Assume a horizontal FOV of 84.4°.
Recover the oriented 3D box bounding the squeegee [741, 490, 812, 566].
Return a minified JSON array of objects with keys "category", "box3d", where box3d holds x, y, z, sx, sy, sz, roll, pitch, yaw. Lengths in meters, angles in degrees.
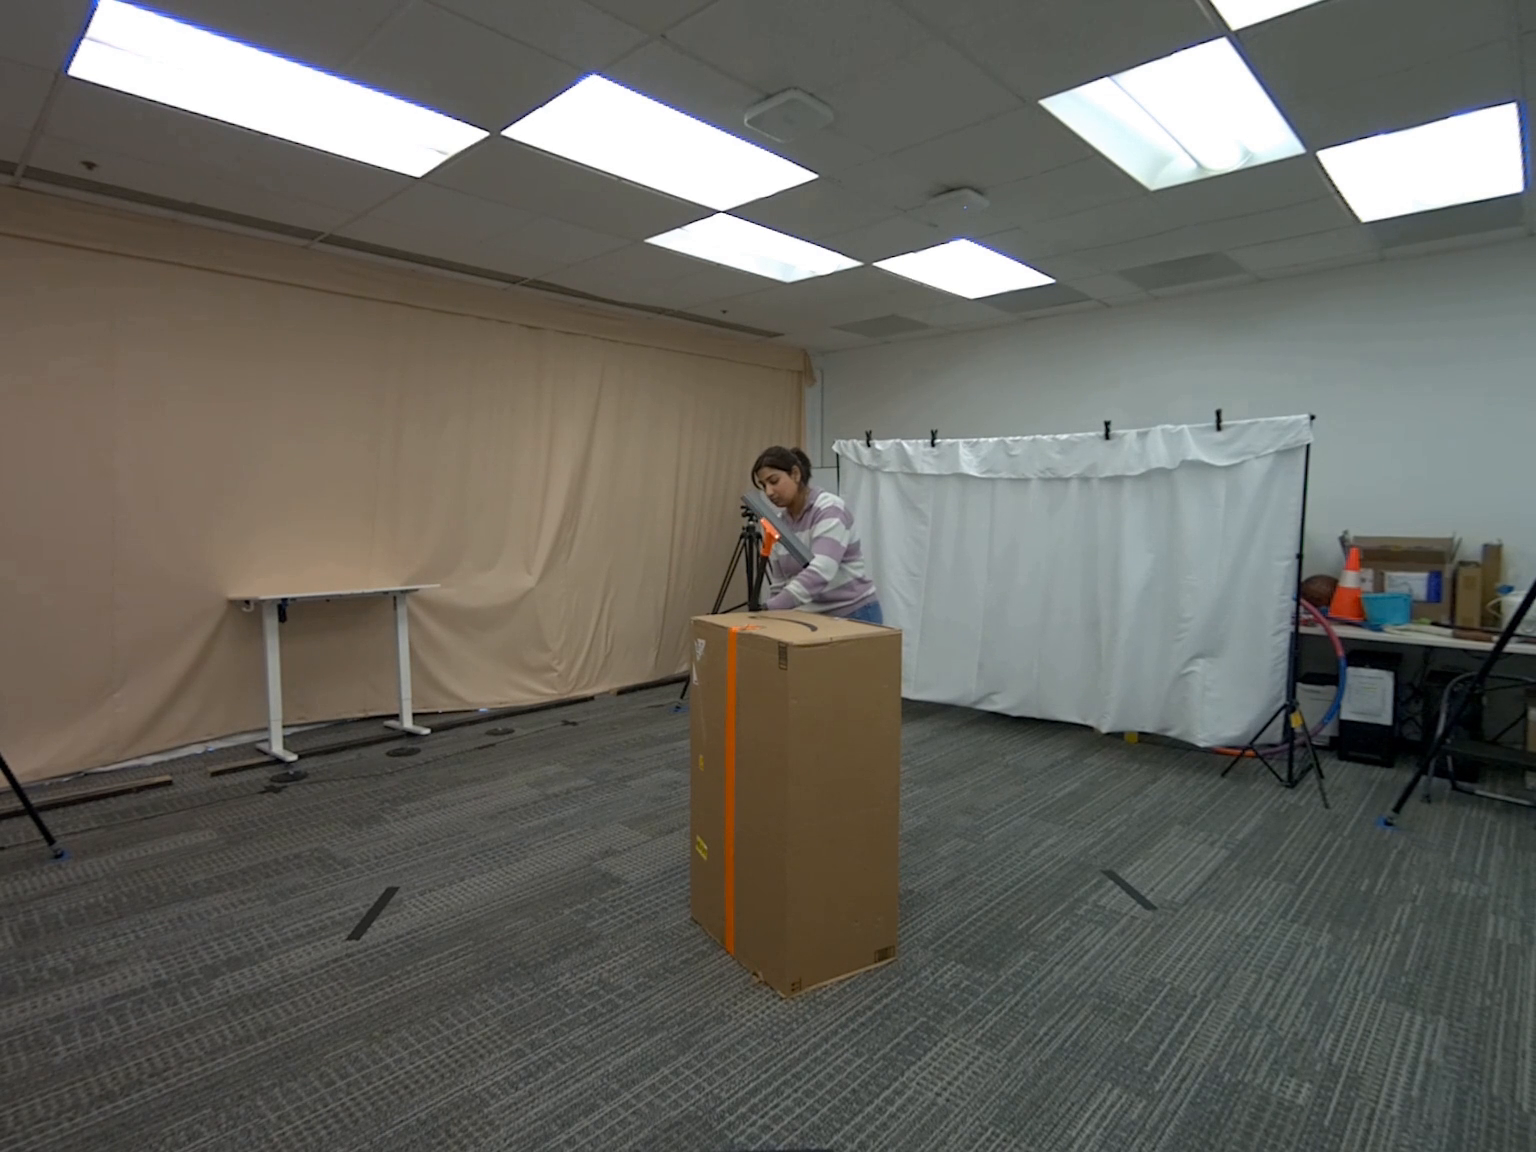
[{"category":"squeegee","box3d":[-0.153,0.449,3.137,0.052,1.525,0.452,1,32,-25]}]
